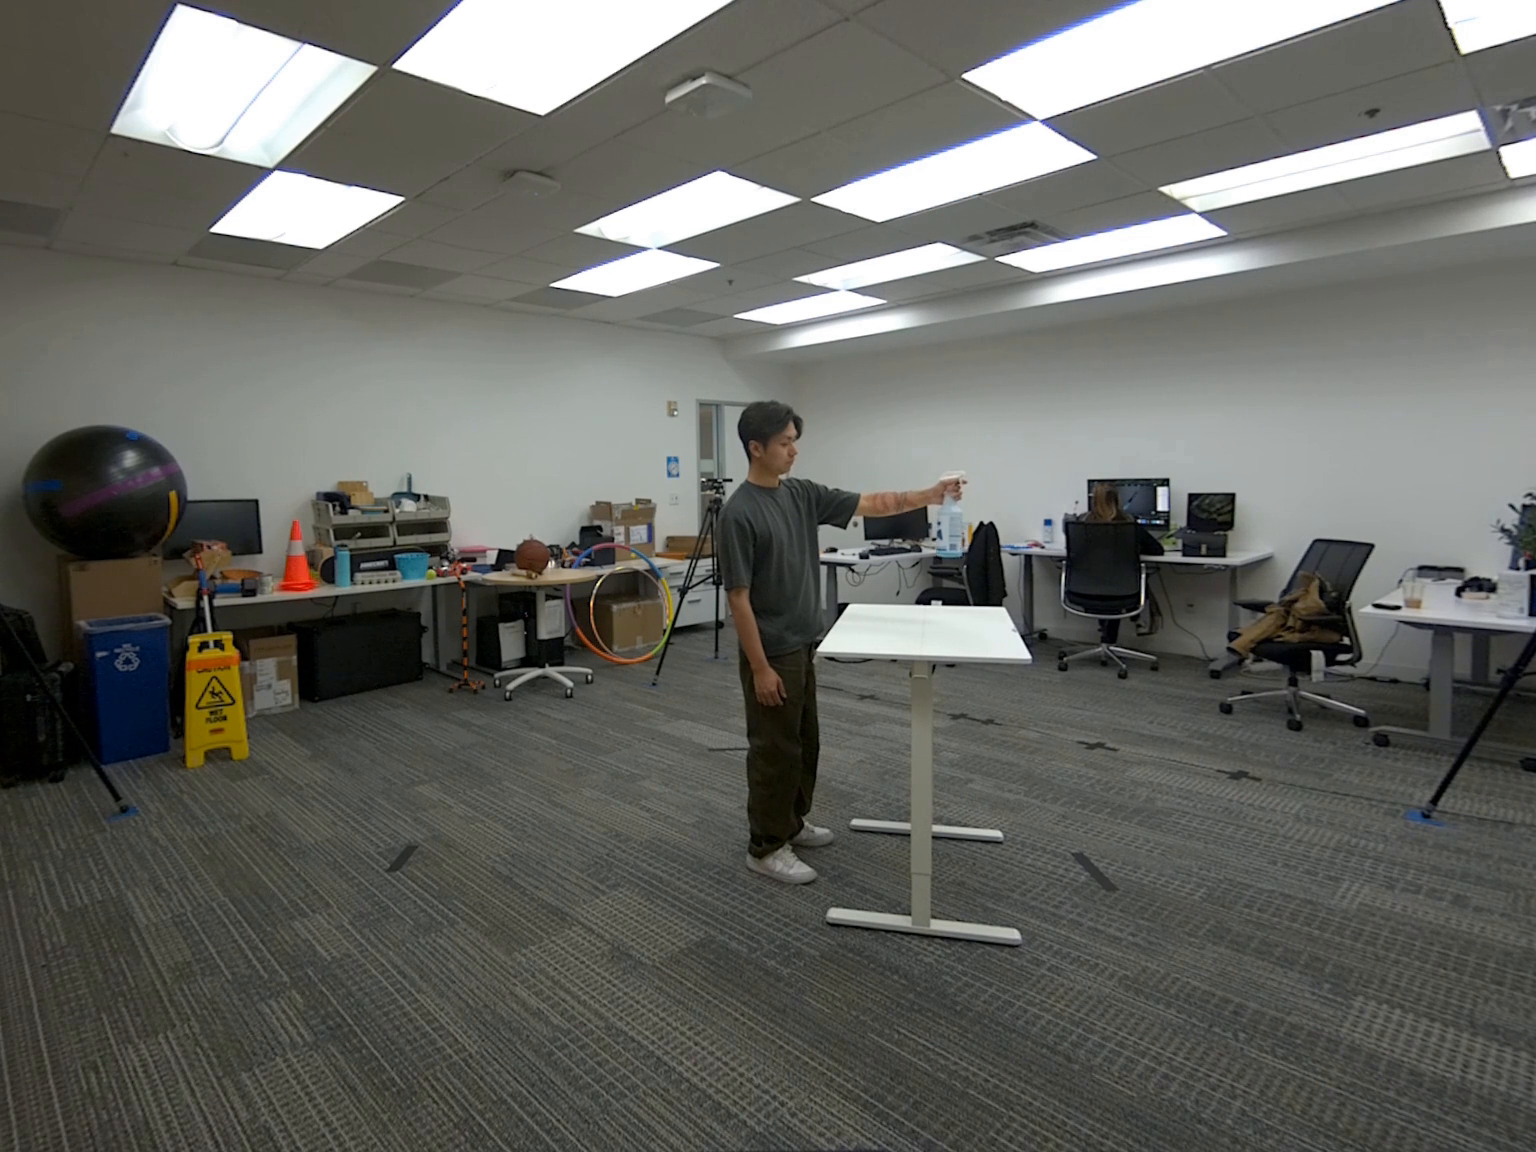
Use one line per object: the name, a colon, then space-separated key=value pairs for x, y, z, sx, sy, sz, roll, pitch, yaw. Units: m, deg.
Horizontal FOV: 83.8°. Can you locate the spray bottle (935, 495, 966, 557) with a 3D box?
spray bottle: x=0.634 y=-0.213 z=2.980 sx=0.085 sy=0.296 sz=0.092 roll=-2 pitch=4 yaw=-33
